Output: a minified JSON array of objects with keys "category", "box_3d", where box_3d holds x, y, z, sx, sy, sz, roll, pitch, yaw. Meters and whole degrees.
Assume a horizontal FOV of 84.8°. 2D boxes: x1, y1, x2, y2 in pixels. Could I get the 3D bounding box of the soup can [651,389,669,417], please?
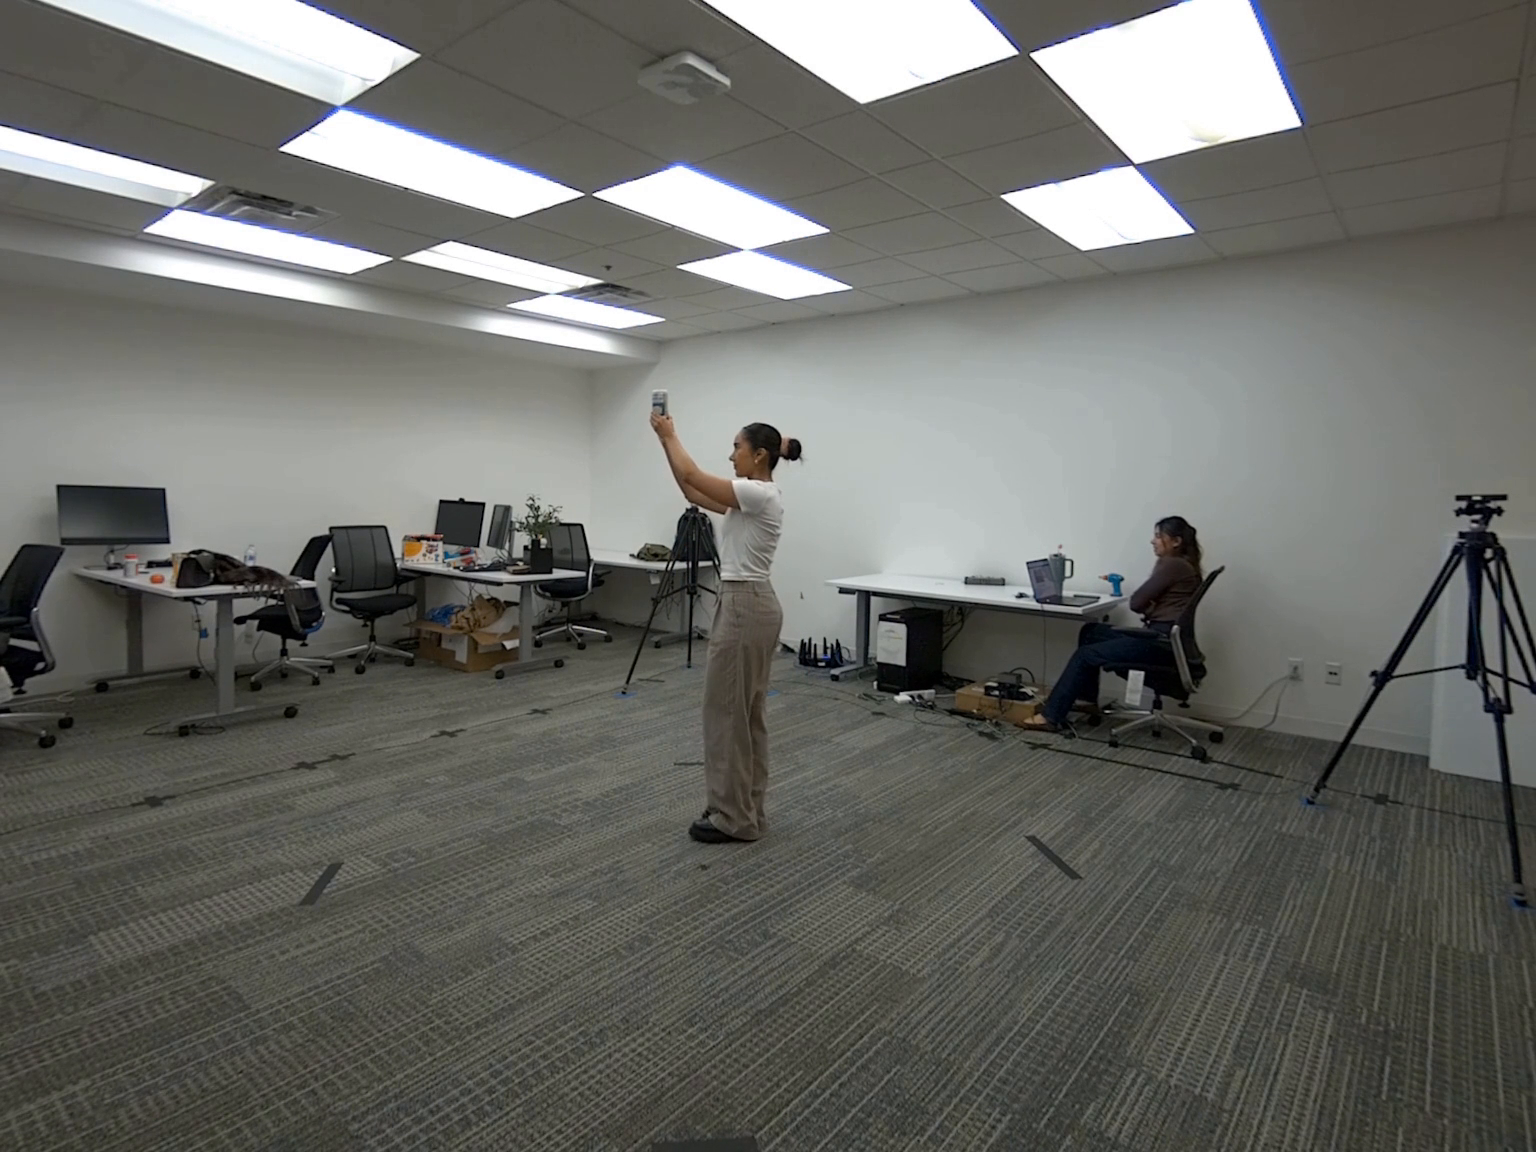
[{"category":"soup can","box_3d":[-0.462,-0.724,3.563,0.067,0.121,0.067,-4,3,-2]}]
